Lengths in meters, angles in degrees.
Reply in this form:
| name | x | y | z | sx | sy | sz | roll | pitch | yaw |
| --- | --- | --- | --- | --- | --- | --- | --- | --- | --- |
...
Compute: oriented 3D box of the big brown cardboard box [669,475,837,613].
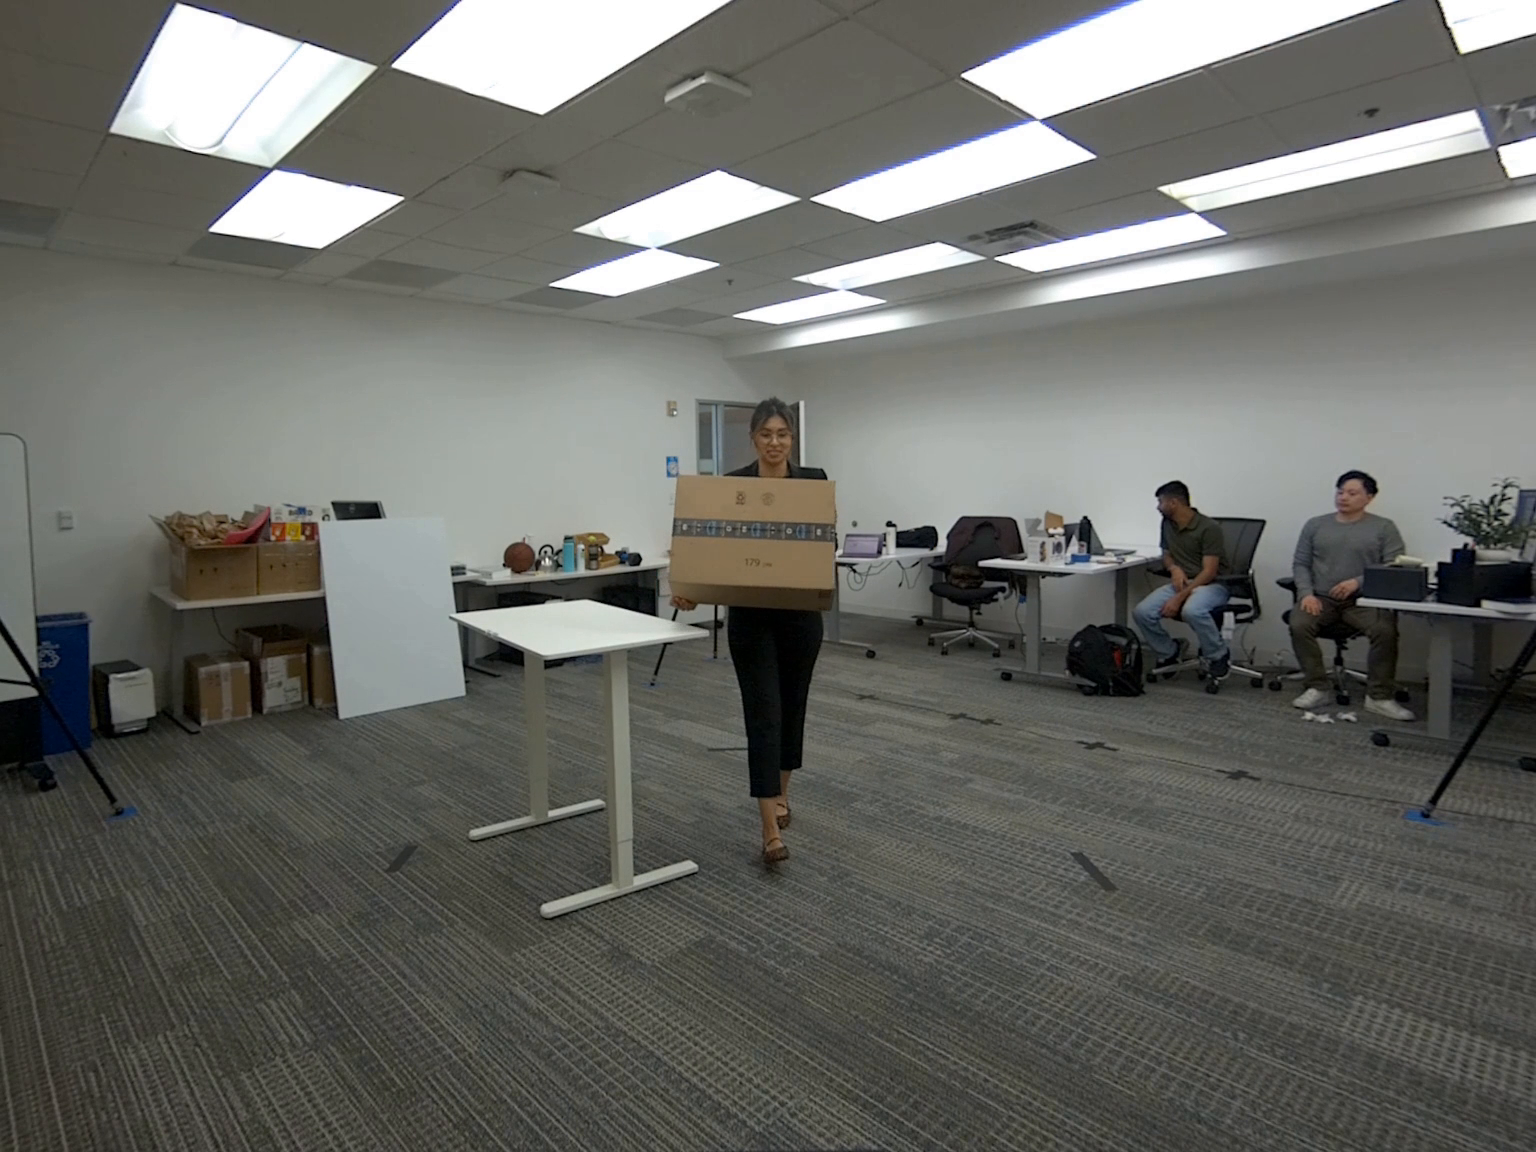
| name | x | y | z | sx | sy | sz | roll | pitch | yaw |
| --- | --- | --- | --- | --- | --- | --- | --- | --- | --- |
| big brown cardboard box | -0.051 | -0.122 | 3.051 | 0.591 | 0.425 | 0.228 | 3 | -22 | 3 |
